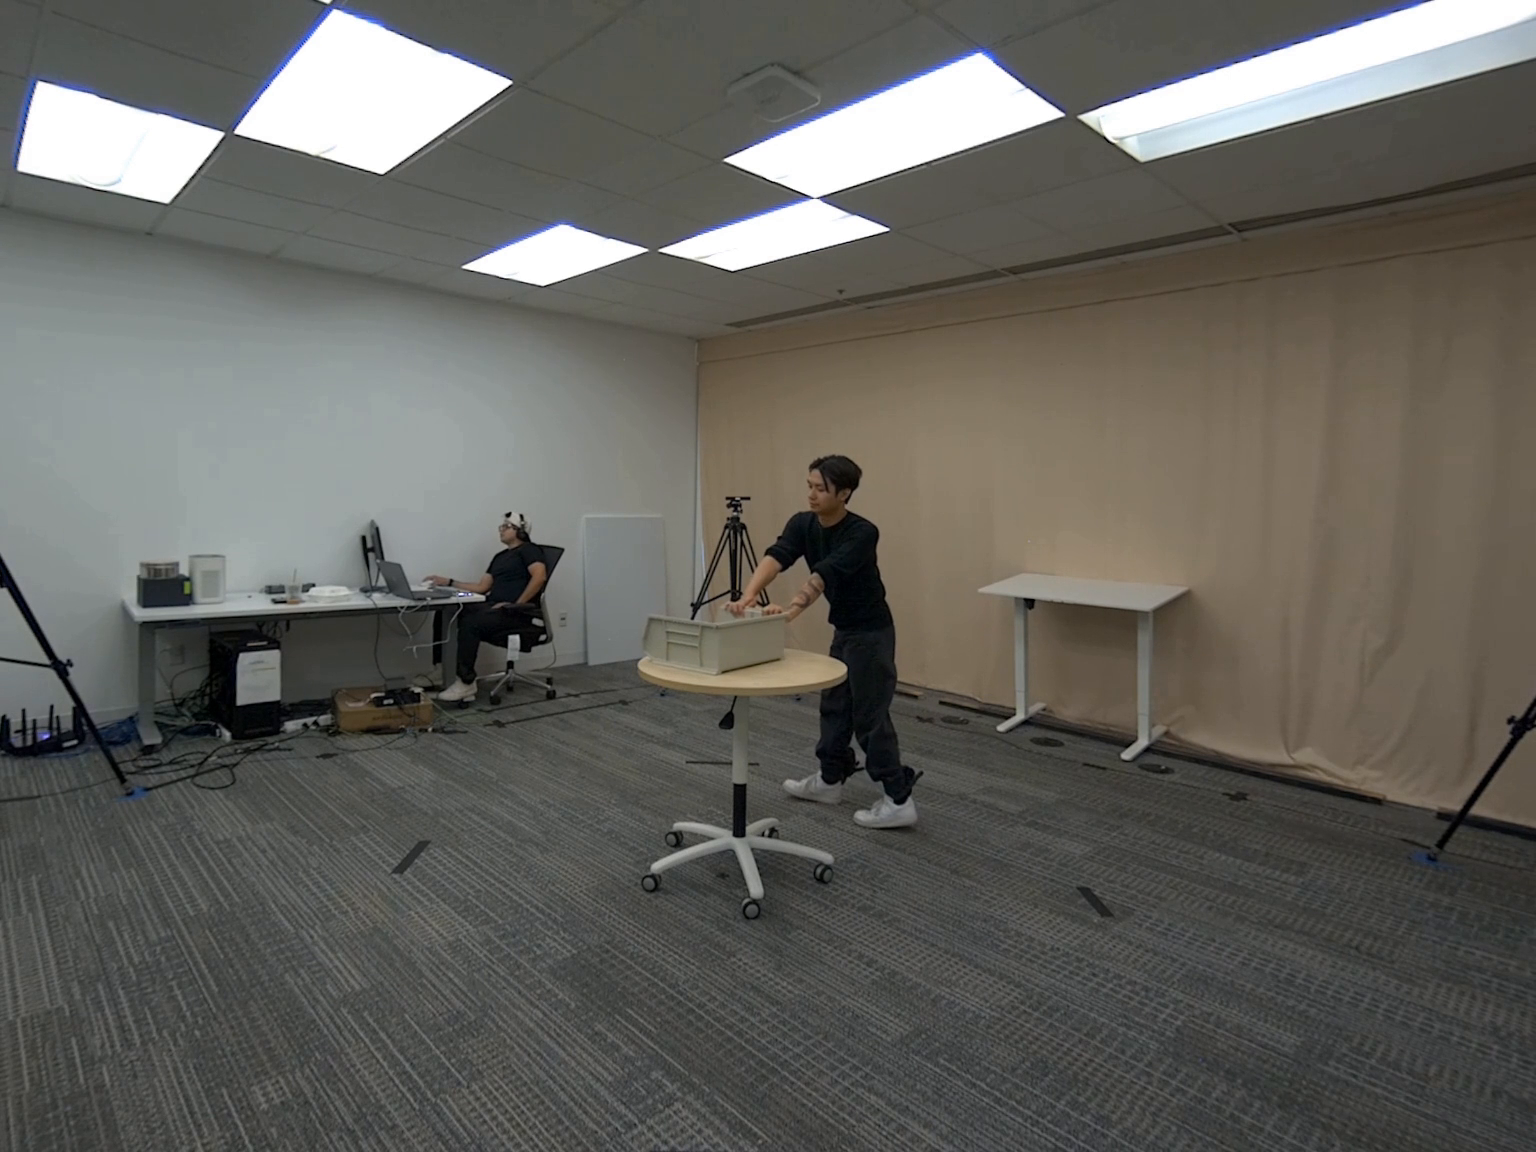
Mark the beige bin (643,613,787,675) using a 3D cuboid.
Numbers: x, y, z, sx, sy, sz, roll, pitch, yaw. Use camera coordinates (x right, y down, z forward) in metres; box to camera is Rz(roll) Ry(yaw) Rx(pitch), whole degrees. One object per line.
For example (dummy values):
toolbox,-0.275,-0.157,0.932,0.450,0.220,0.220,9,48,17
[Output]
beige bin,-0.197,0.228,3.150,0.387,0.188,0.413,7,8,39
